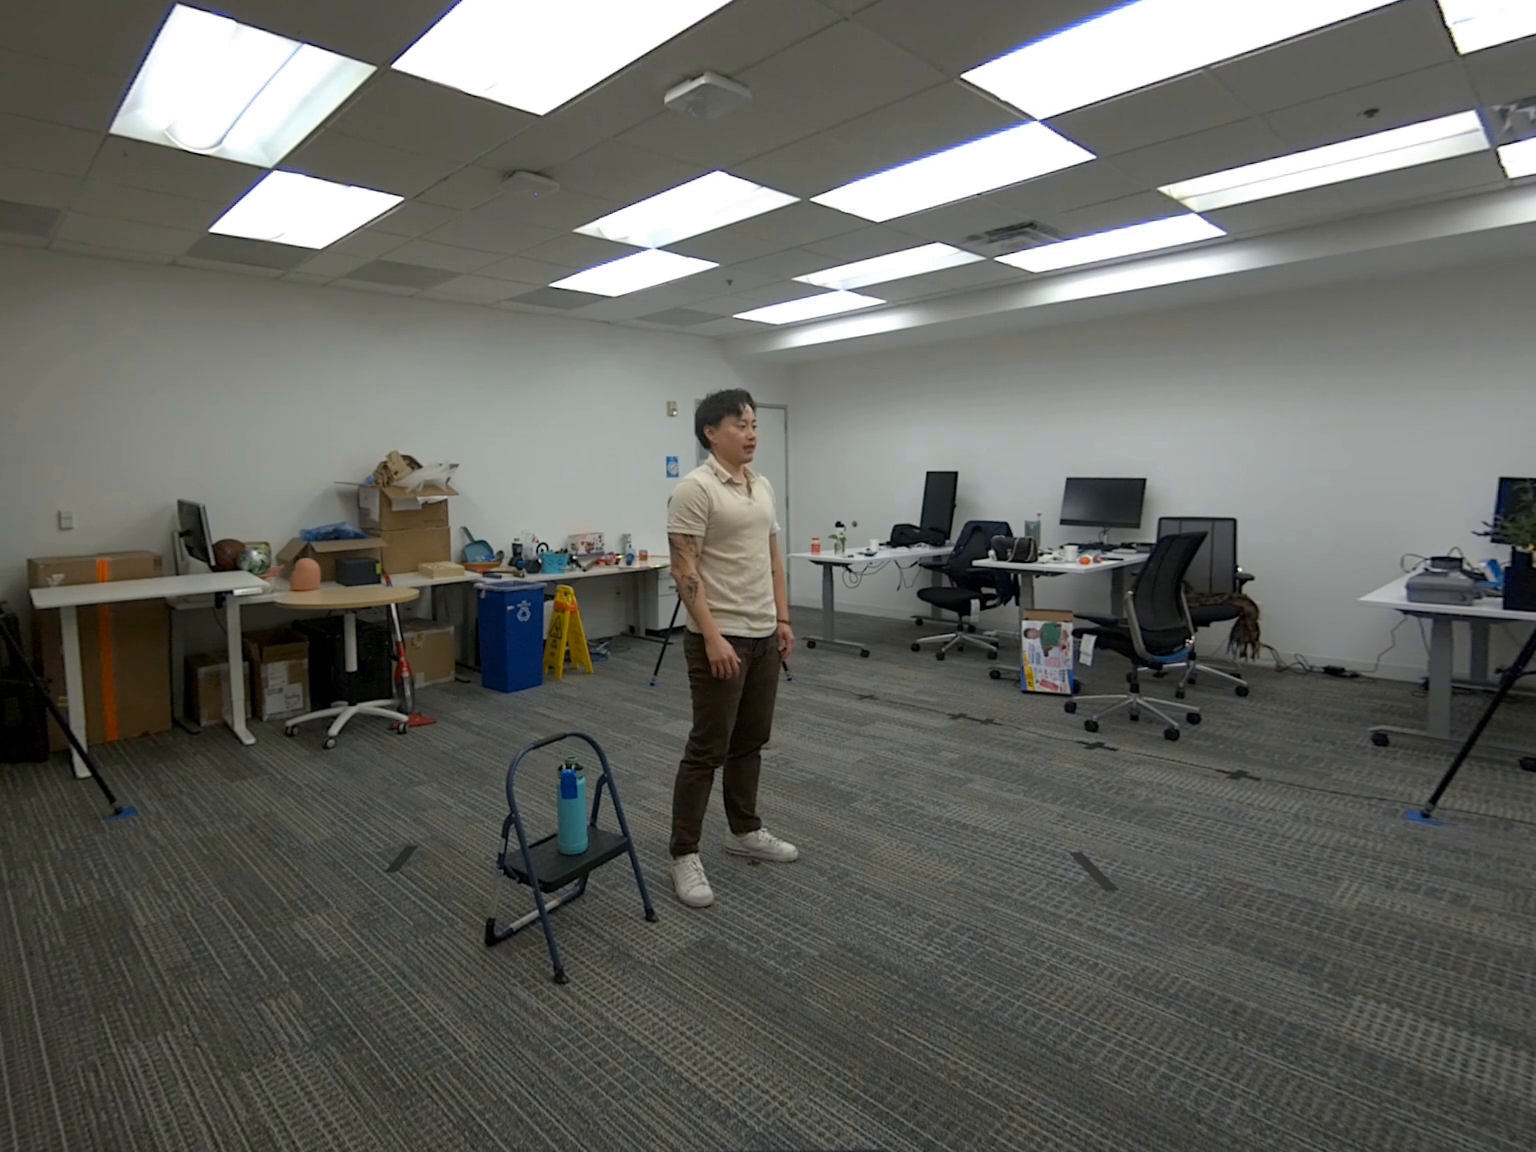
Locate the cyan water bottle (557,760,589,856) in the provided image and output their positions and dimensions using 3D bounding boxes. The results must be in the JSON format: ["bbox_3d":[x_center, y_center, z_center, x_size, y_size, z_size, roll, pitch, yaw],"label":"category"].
[{"bbox_3d":[-0.609,0.714,2.632,0.092,0.281,0.093,-2,7,-1],"label":"cyan water bottle"}]
